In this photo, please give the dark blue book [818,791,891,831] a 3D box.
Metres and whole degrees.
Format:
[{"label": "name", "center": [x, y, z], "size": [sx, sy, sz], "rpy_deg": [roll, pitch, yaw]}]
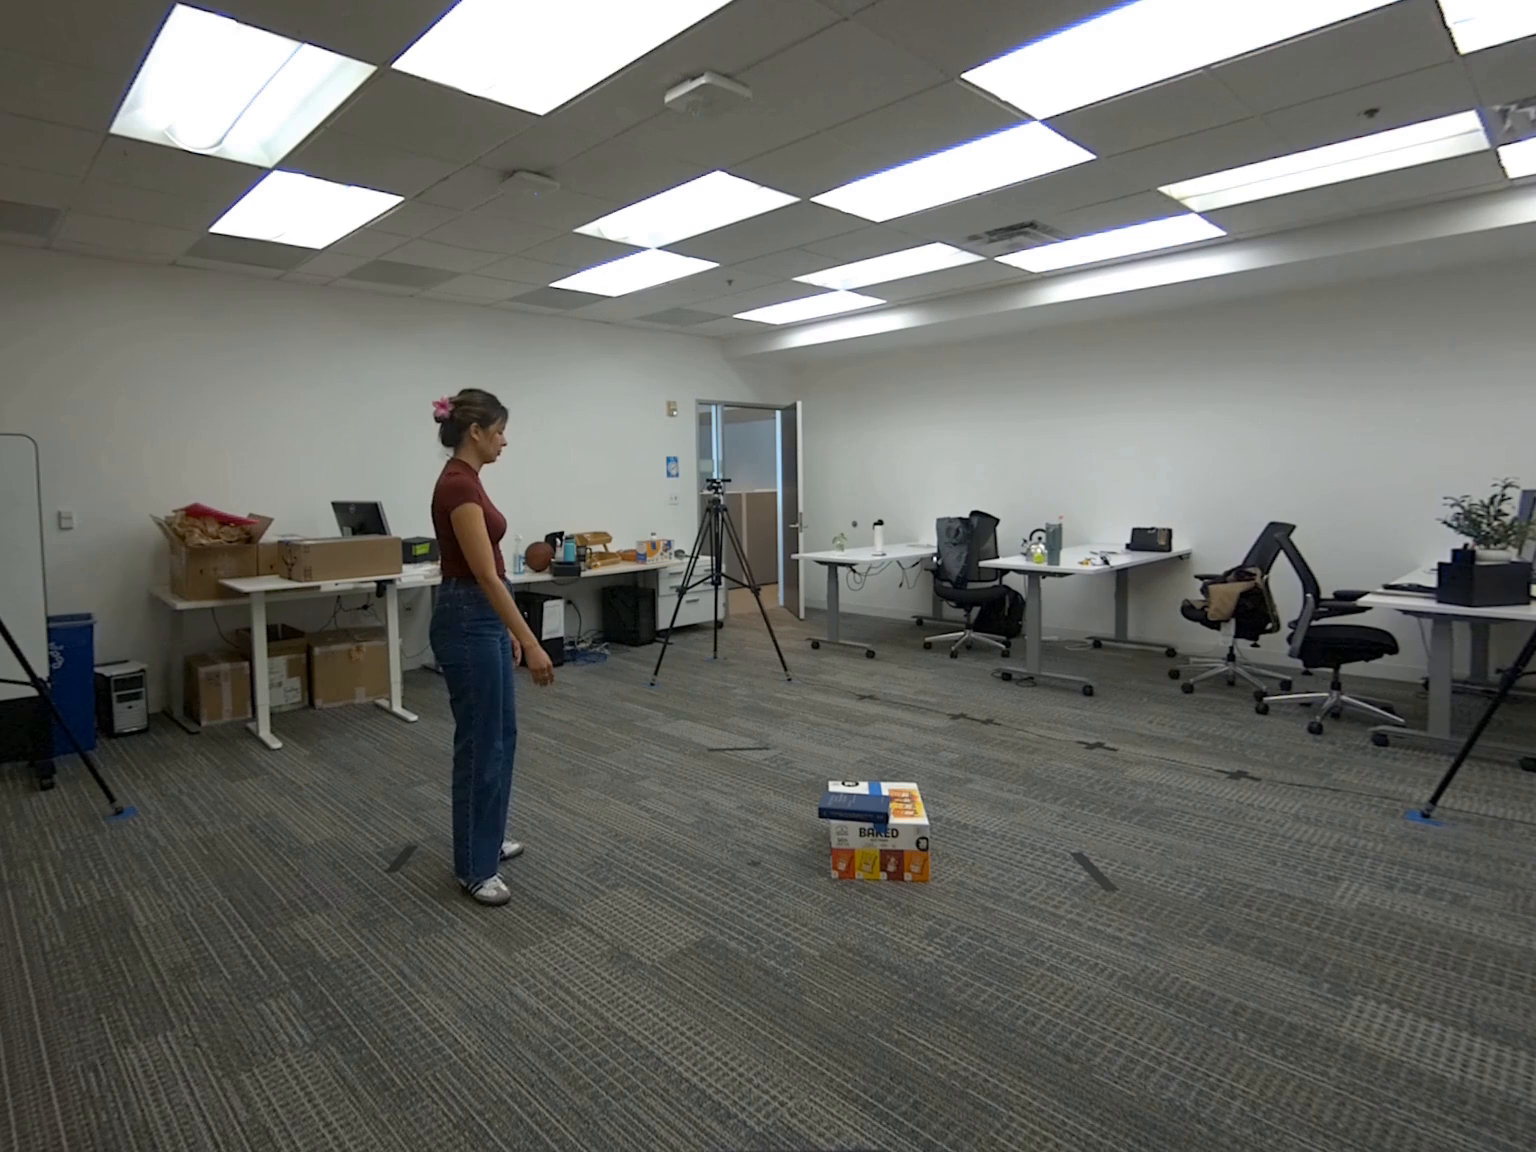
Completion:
[{"label": "dark blue book", "center": [0.306, 0.813, 3.038], "size": [0.248, 0.045, 0.162], "rpy_deg": [1, 5, 13]}]
